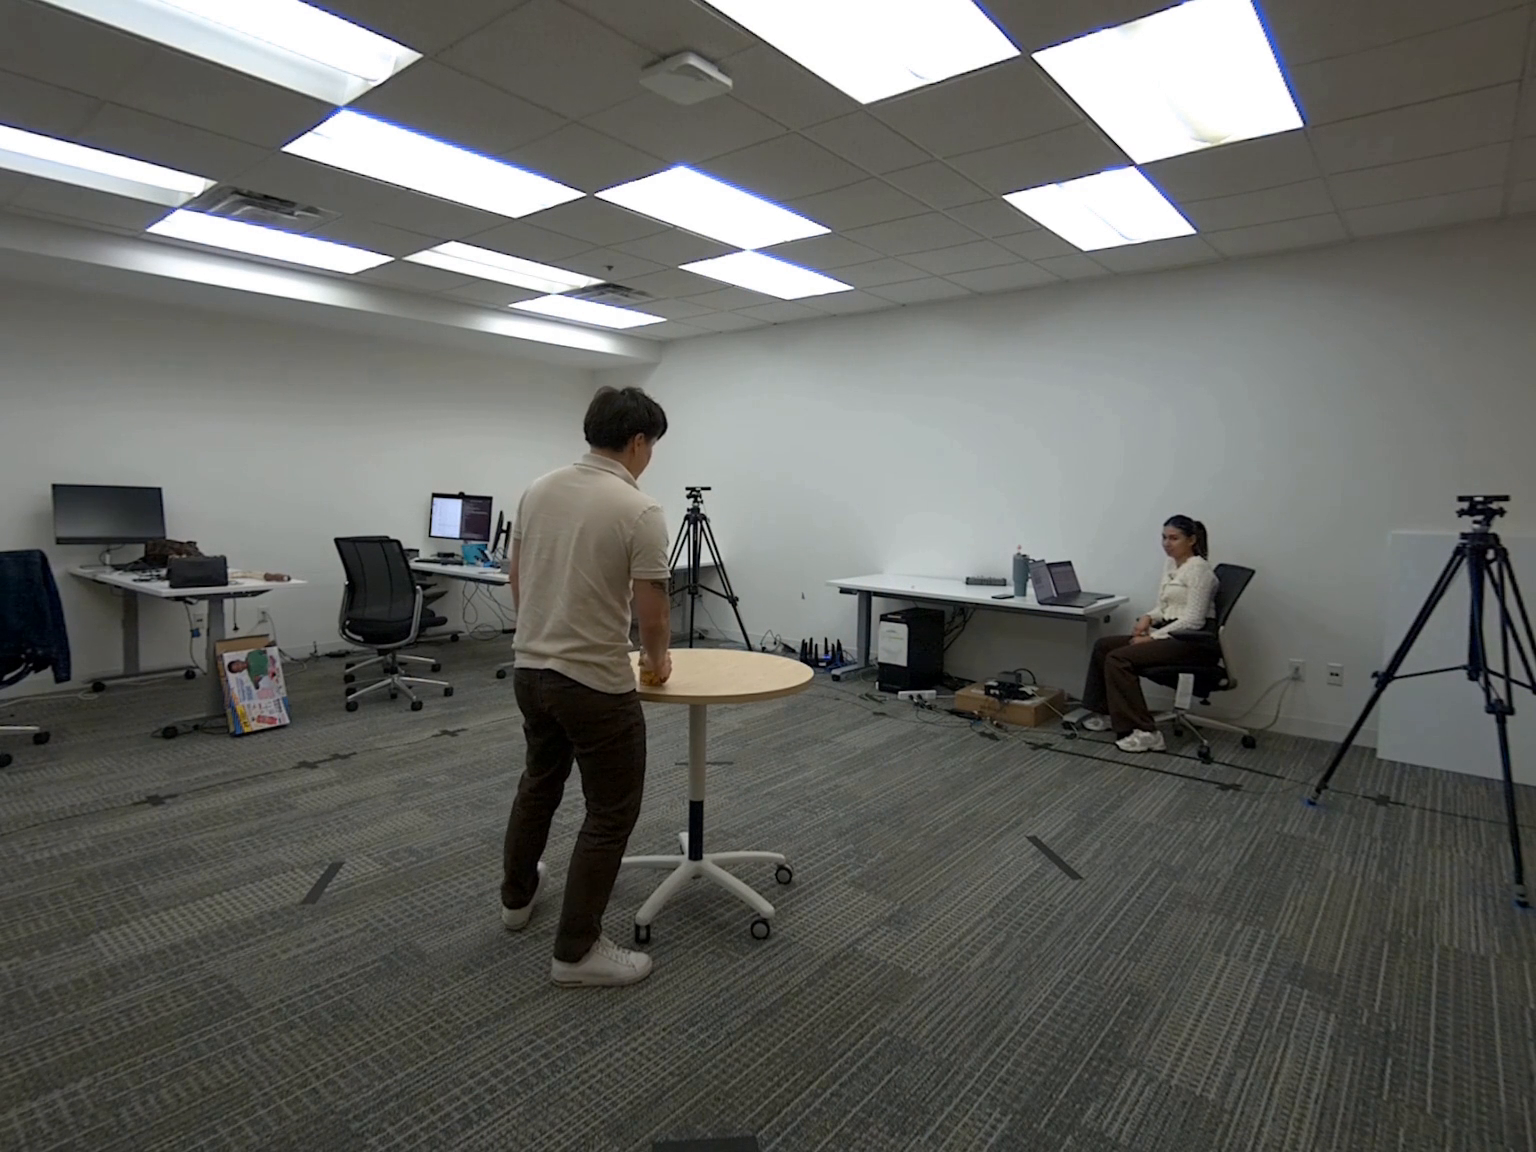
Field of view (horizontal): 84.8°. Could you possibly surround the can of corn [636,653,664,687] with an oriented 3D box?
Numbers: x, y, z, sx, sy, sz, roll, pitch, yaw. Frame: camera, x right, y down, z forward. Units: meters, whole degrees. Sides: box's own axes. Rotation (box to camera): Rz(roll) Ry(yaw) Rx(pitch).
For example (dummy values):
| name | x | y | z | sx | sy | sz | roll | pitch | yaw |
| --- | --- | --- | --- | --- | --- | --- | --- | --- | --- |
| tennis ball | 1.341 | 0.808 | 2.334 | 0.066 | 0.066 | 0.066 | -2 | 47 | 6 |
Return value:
| name | x | y | z | sx | sy | sz | roll | pitch | yaw |
| --- | --- | --- | --- | --- | --- | --- | --- | --- | --- |
| can of corn | -0.370 | 0.275 | 2.597 | 0.074 | 0.110 | 0.075 | 1 | 6 | -2 |
